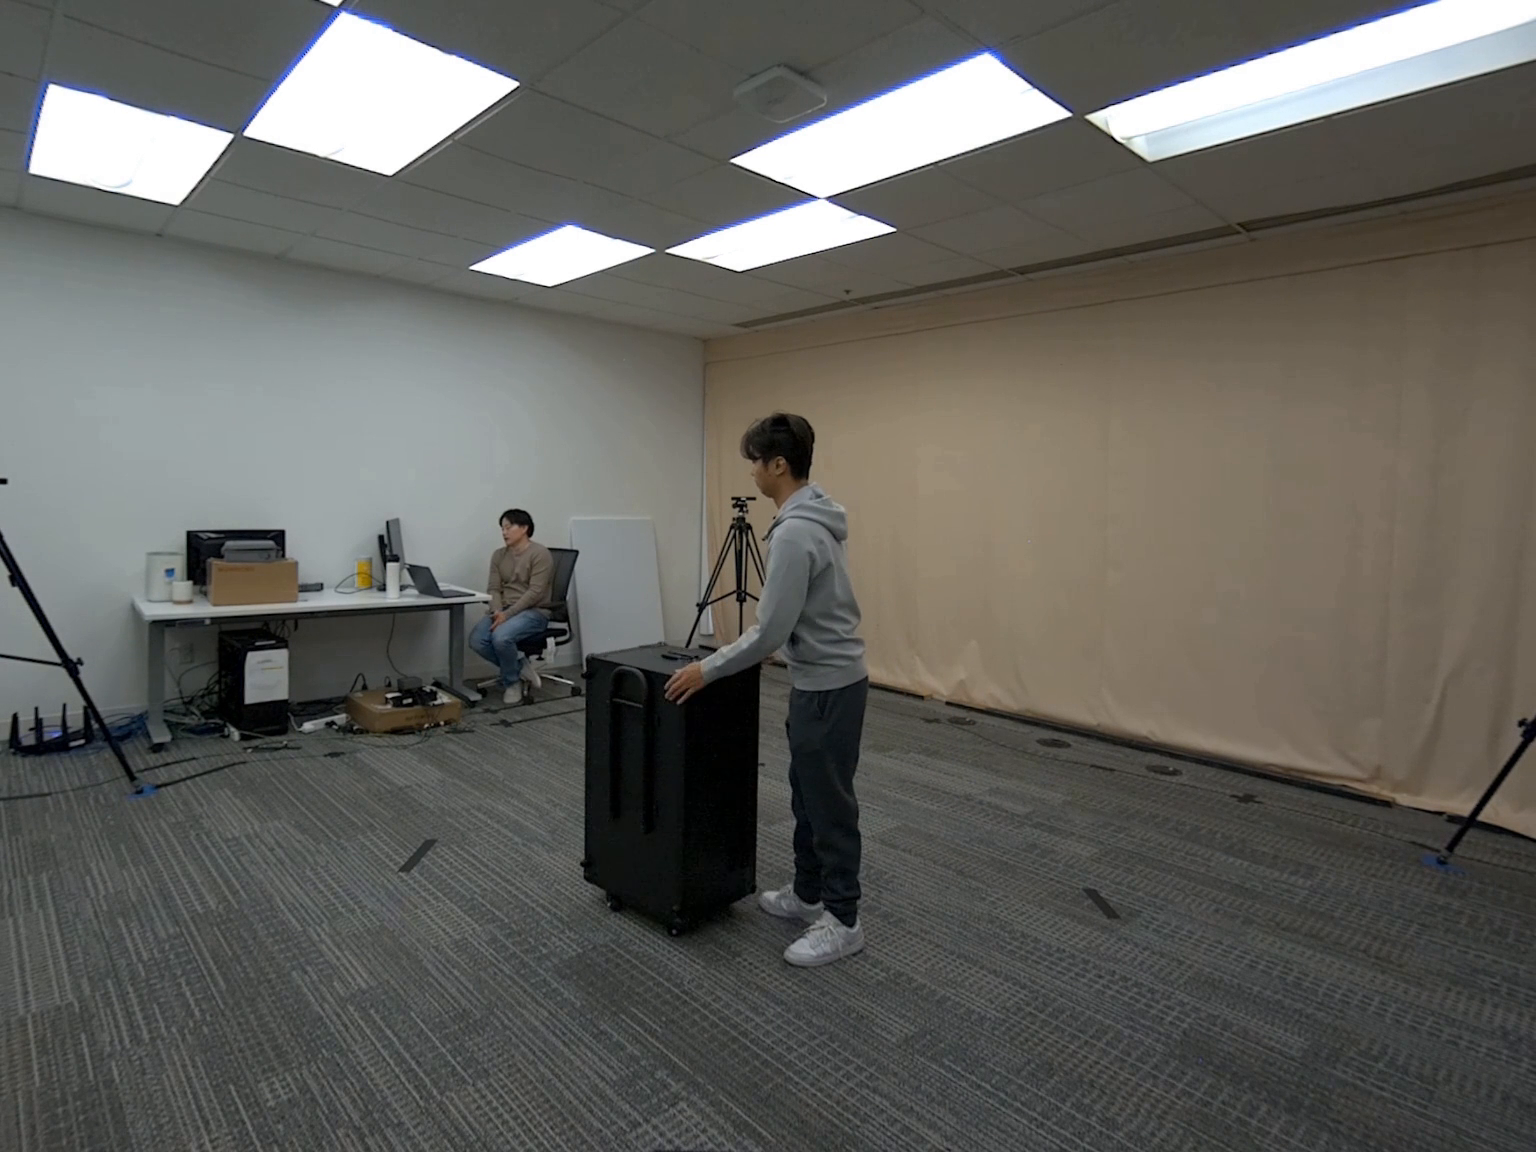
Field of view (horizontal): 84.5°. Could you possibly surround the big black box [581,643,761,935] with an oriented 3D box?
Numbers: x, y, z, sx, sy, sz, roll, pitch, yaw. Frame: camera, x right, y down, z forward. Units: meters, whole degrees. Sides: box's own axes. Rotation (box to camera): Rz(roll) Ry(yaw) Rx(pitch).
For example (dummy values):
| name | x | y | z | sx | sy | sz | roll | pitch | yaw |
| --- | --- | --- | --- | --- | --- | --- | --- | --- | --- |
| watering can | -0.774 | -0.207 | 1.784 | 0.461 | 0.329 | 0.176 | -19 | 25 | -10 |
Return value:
| name | x | y | z | sx | sy | sz | roll | pitch | yaw |
| --- | --- | --- | --- | --- | --- | --- | --- | --- | --- |
| big black box | -0.336 | 0.701 | 2.834 | 0.534 | 0.858 | 0.388 | 5 | 6 | 39 |
